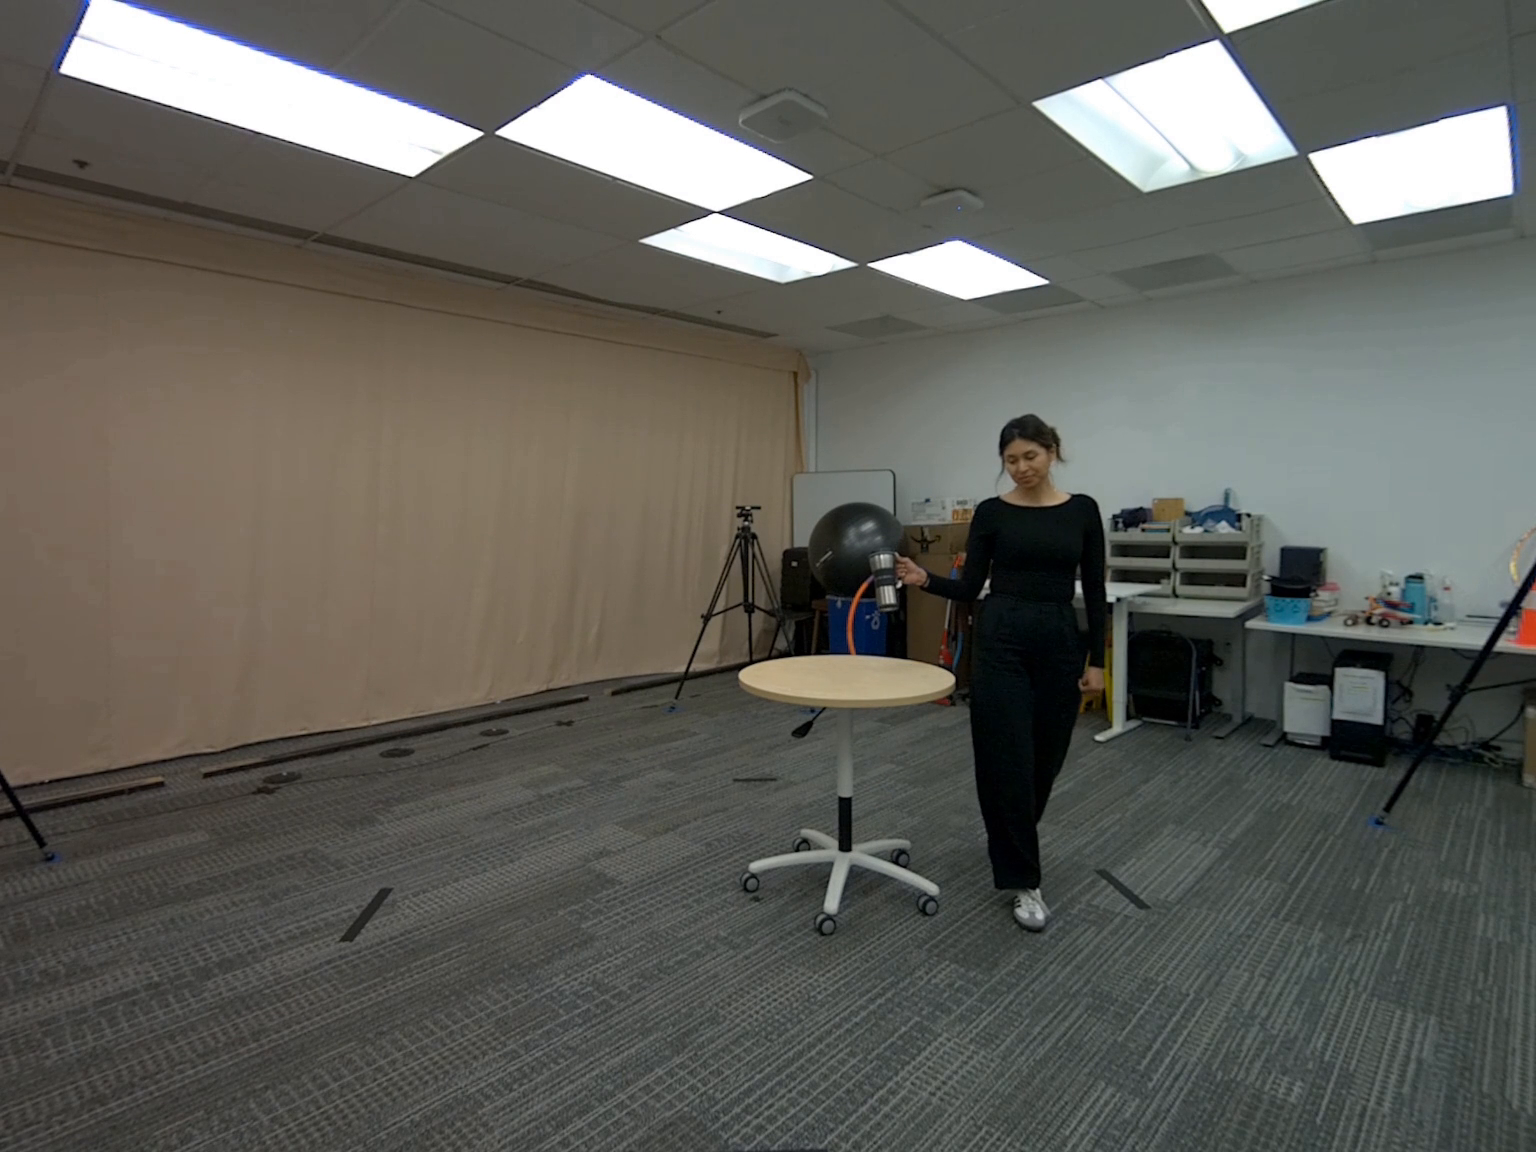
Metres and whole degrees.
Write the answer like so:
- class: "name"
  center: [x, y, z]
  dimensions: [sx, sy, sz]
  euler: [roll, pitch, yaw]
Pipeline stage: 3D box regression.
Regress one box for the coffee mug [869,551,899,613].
- class: "coffee mug"
  center: [0.417, 0.012, 2.831]
  dimensions: [0.125, 0.205, 0.085]
  euler: [-14, -22, 33]
